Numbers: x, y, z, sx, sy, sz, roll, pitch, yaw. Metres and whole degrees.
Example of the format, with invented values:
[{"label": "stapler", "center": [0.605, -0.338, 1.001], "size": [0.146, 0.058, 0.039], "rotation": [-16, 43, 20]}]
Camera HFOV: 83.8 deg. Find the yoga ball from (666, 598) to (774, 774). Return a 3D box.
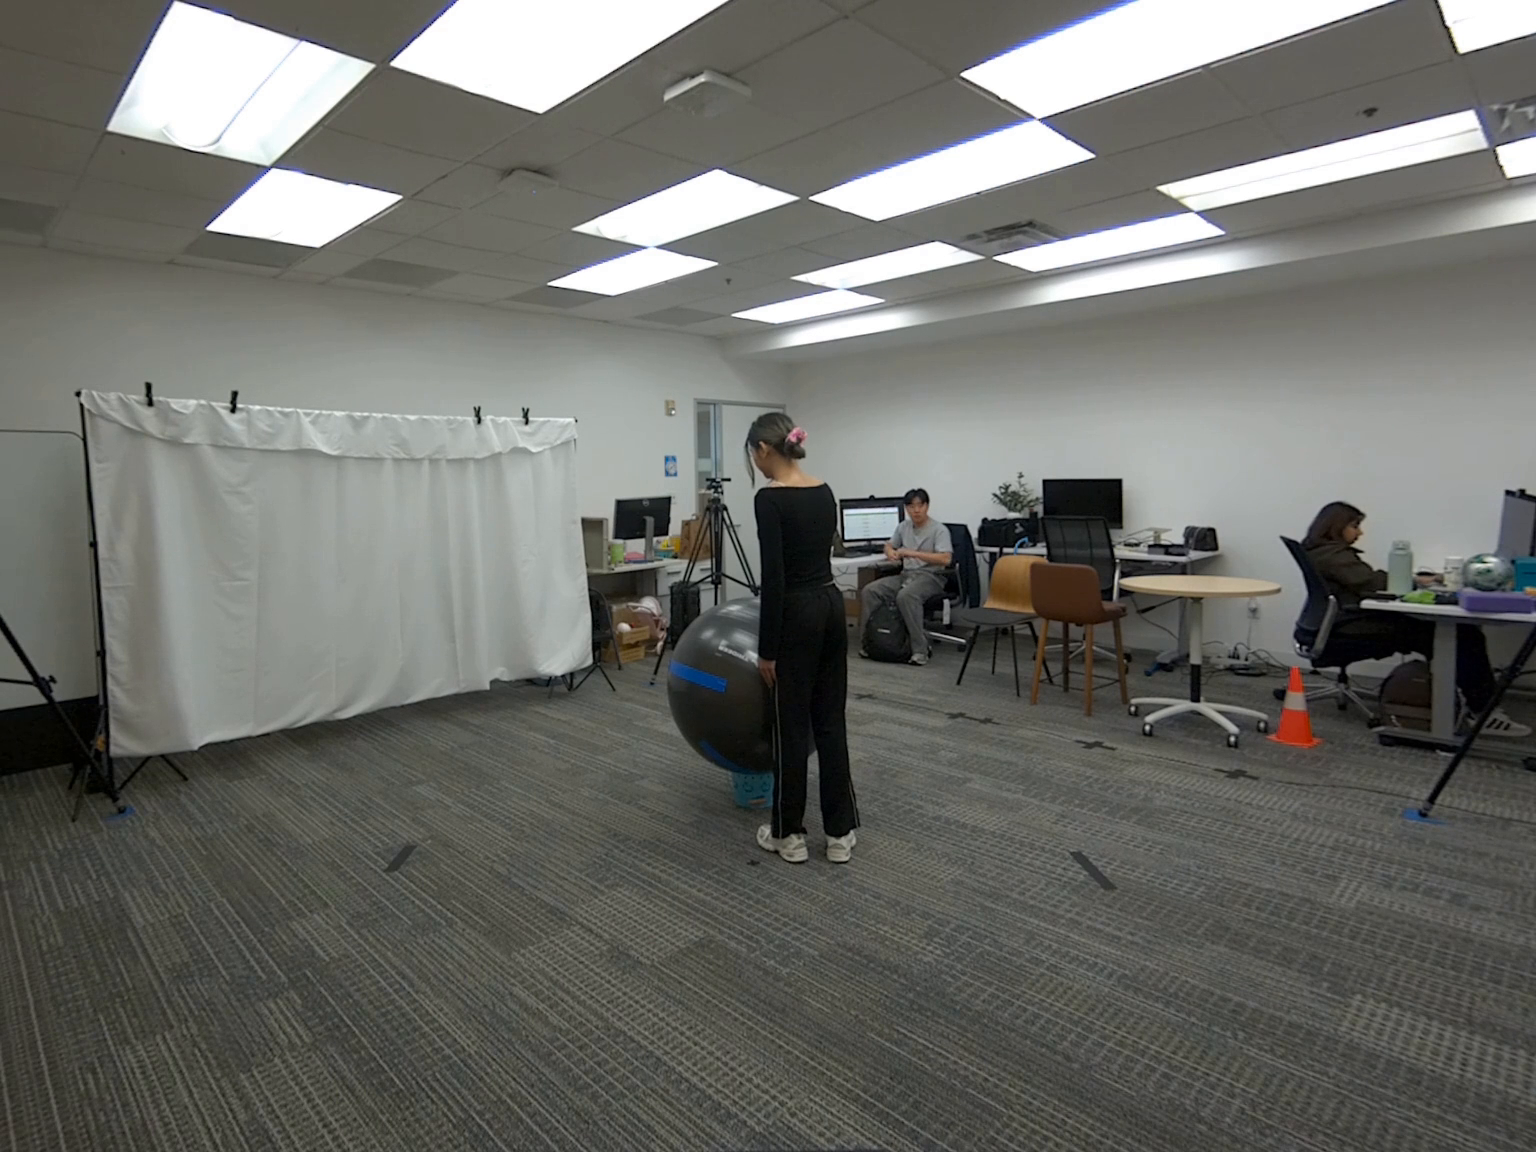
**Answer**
[{"label": "yoga ball", "center": [-0.066, 0.469, 3.691], "size": [0.757, 0.755, 0.762], "rotation": [-1, 5, -2]}]
